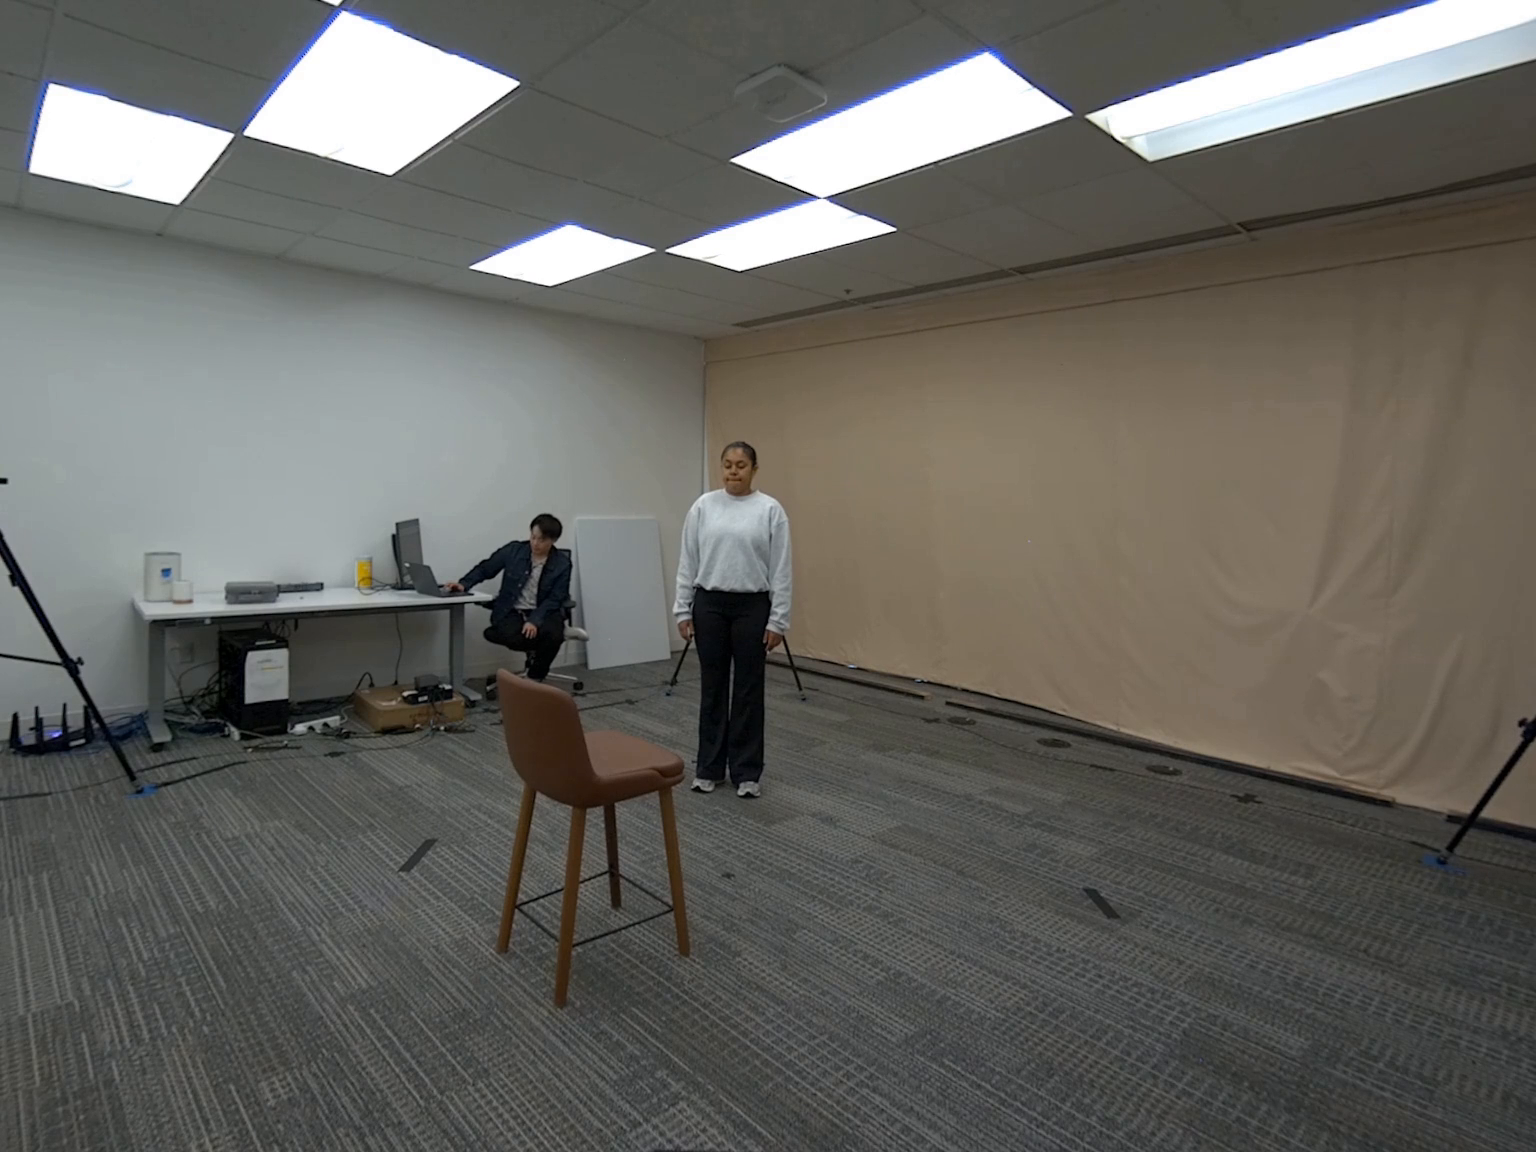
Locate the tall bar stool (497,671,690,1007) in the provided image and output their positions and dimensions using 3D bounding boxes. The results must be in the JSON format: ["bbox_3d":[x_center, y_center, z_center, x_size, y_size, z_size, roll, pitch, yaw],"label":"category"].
[{"bbox_3d":[-0.541,0.715,2.537,0.457,0.887,0.468,-5,6,-42],"label":"tall bar stool"}]
